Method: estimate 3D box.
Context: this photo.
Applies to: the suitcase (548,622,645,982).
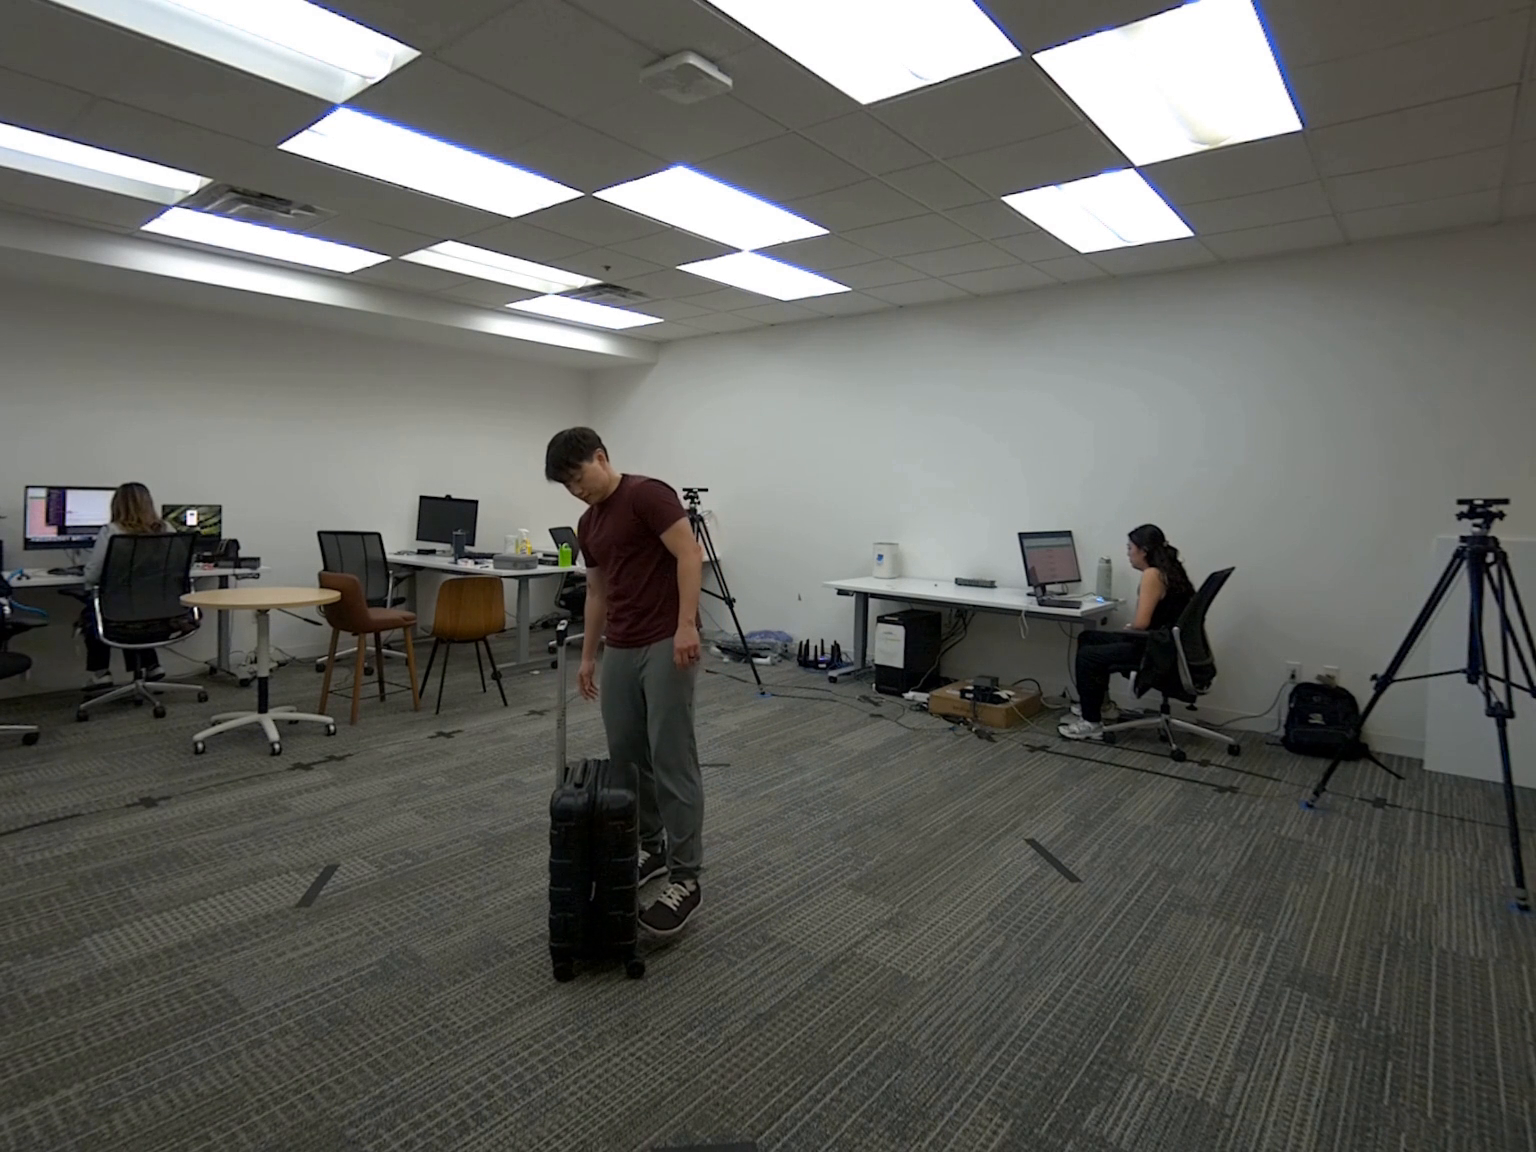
[{"bbox_3d":[-0.521,0.647,2.529,0.256,0.975,0.387,1,4,-6],"label":"suitcase"}]
